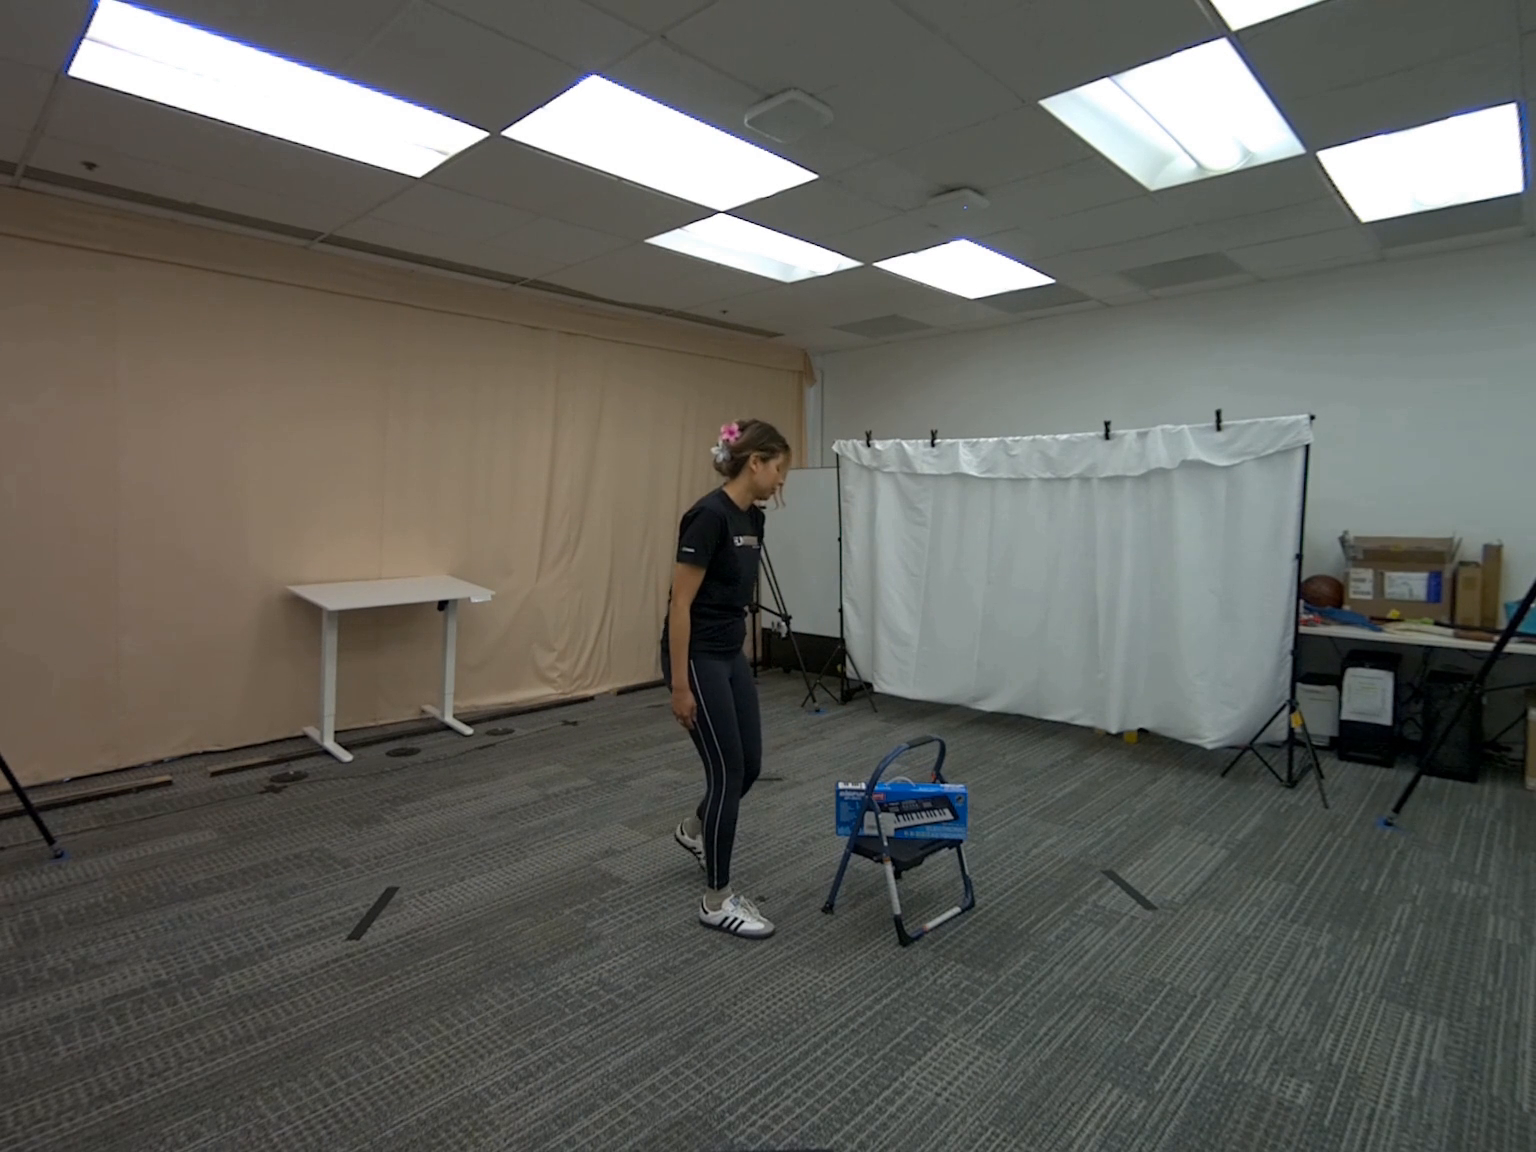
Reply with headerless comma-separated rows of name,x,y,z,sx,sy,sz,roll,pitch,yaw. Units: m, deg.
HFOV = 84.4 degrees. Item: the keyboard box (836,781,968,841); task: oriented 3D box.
keyboard box,0.458,0.803,2.874,0.439,0.175,0.059,0,9,6
